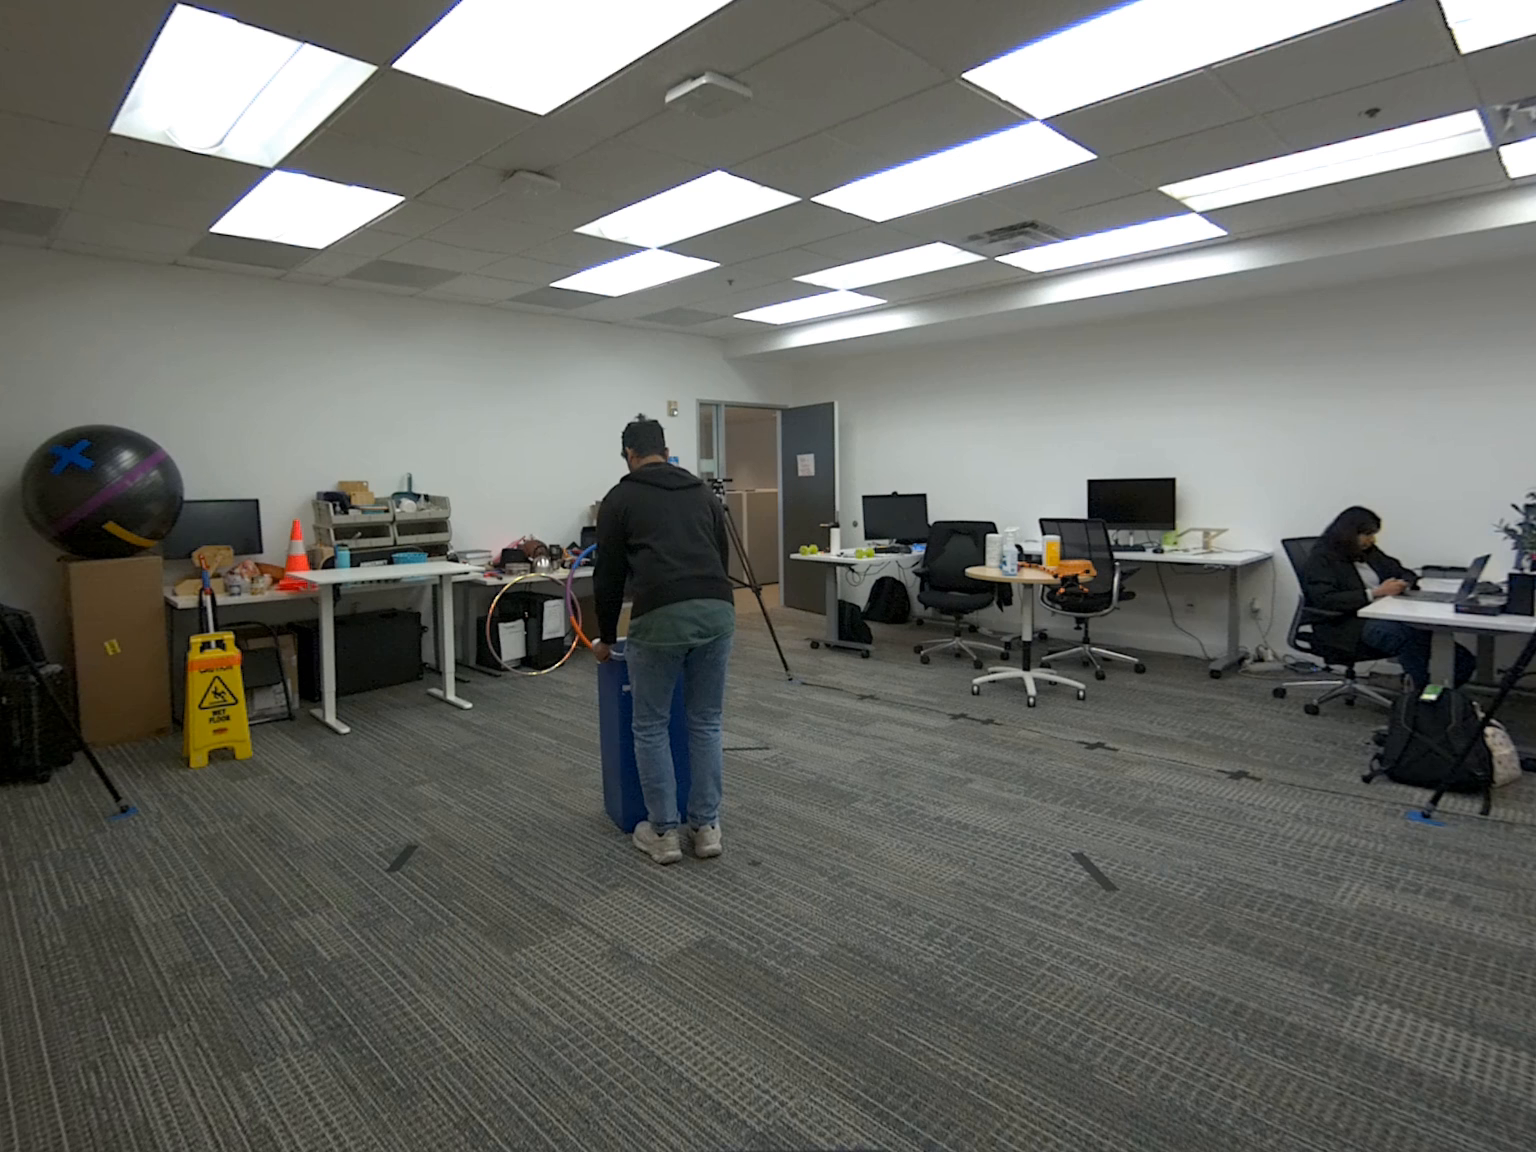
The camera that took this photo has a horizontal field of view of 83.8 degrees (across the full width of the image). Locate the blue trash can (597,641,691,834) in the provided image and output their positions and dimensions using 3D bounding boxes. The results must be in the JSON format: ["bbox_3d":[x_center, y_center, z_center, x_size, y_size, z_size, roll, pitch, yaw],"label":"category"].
[{"bbox_3d":[-0.504,0.620,3.555,0.366,0.711,0.387,-3,4,-25],"label":"blue trash can"}]
